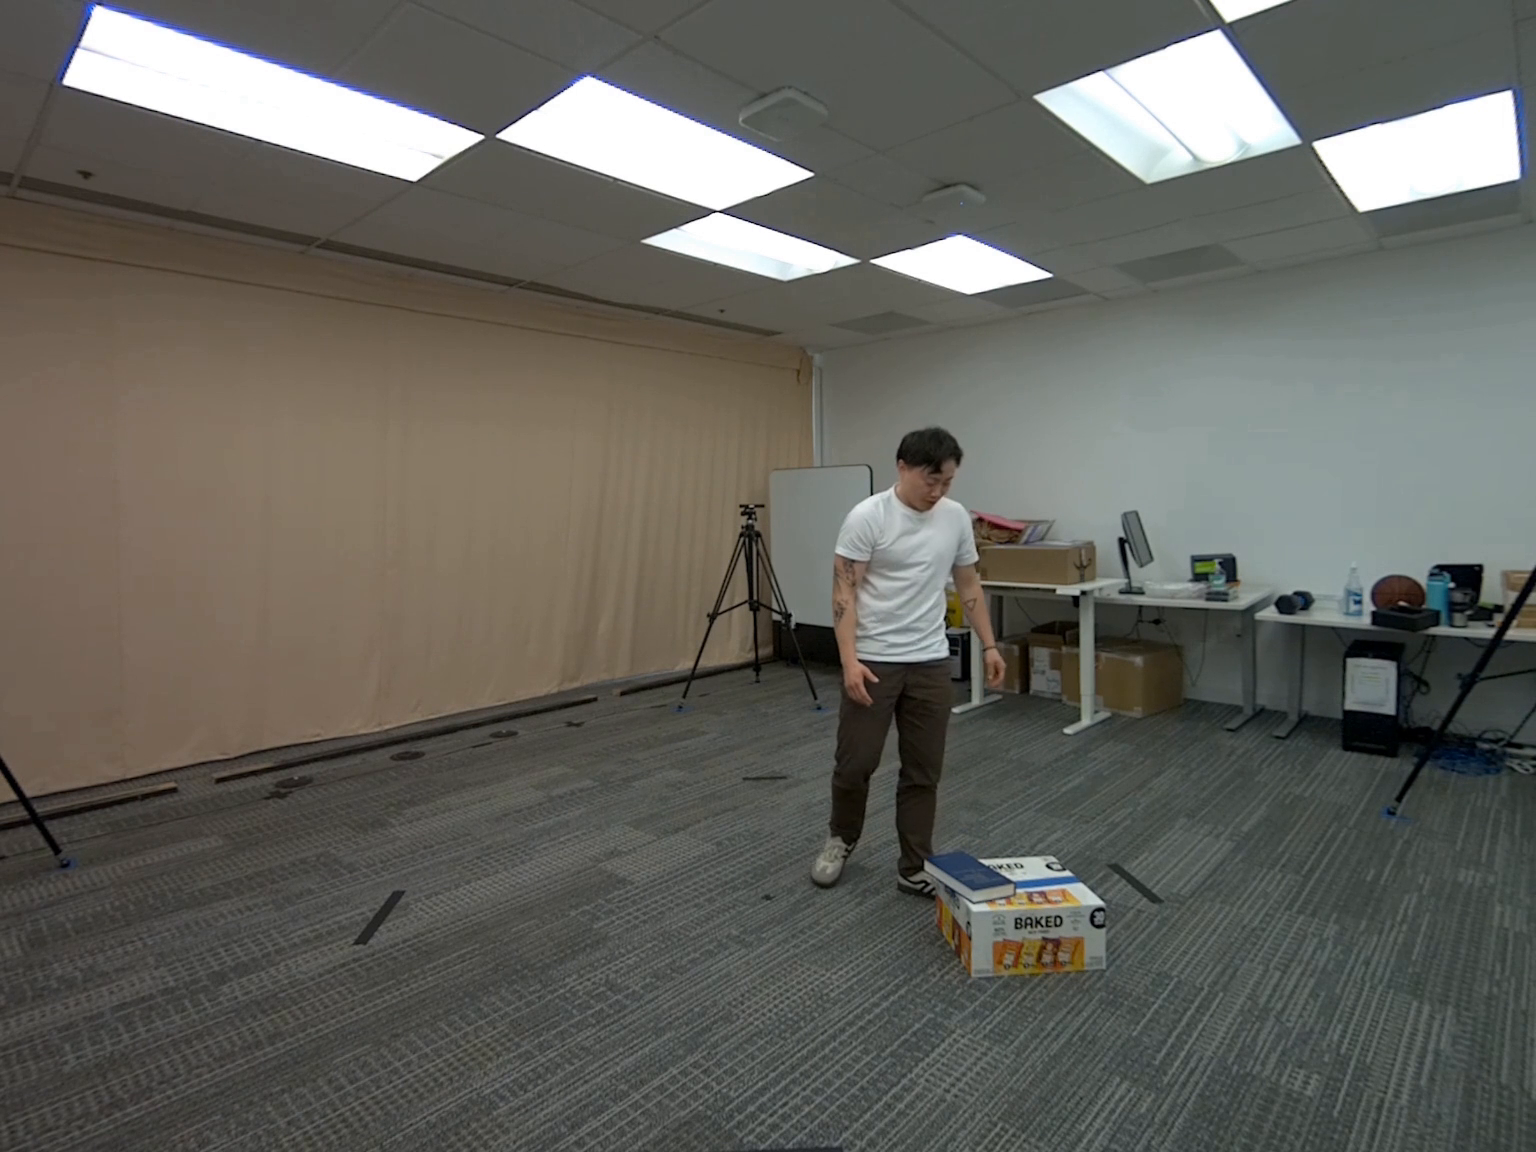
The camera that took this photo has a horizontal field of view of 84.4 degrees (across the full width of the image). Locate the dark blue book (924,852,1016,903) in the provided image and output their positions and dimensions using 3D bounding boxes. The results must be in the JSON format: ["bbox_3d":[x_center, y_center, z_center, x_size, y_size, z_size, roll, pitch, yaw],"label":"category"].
[{"bbox_3d":[0.627,0.933,2.625,0.159,0.045,0.252,0,5,-25],"label":"dark blue book"}]
